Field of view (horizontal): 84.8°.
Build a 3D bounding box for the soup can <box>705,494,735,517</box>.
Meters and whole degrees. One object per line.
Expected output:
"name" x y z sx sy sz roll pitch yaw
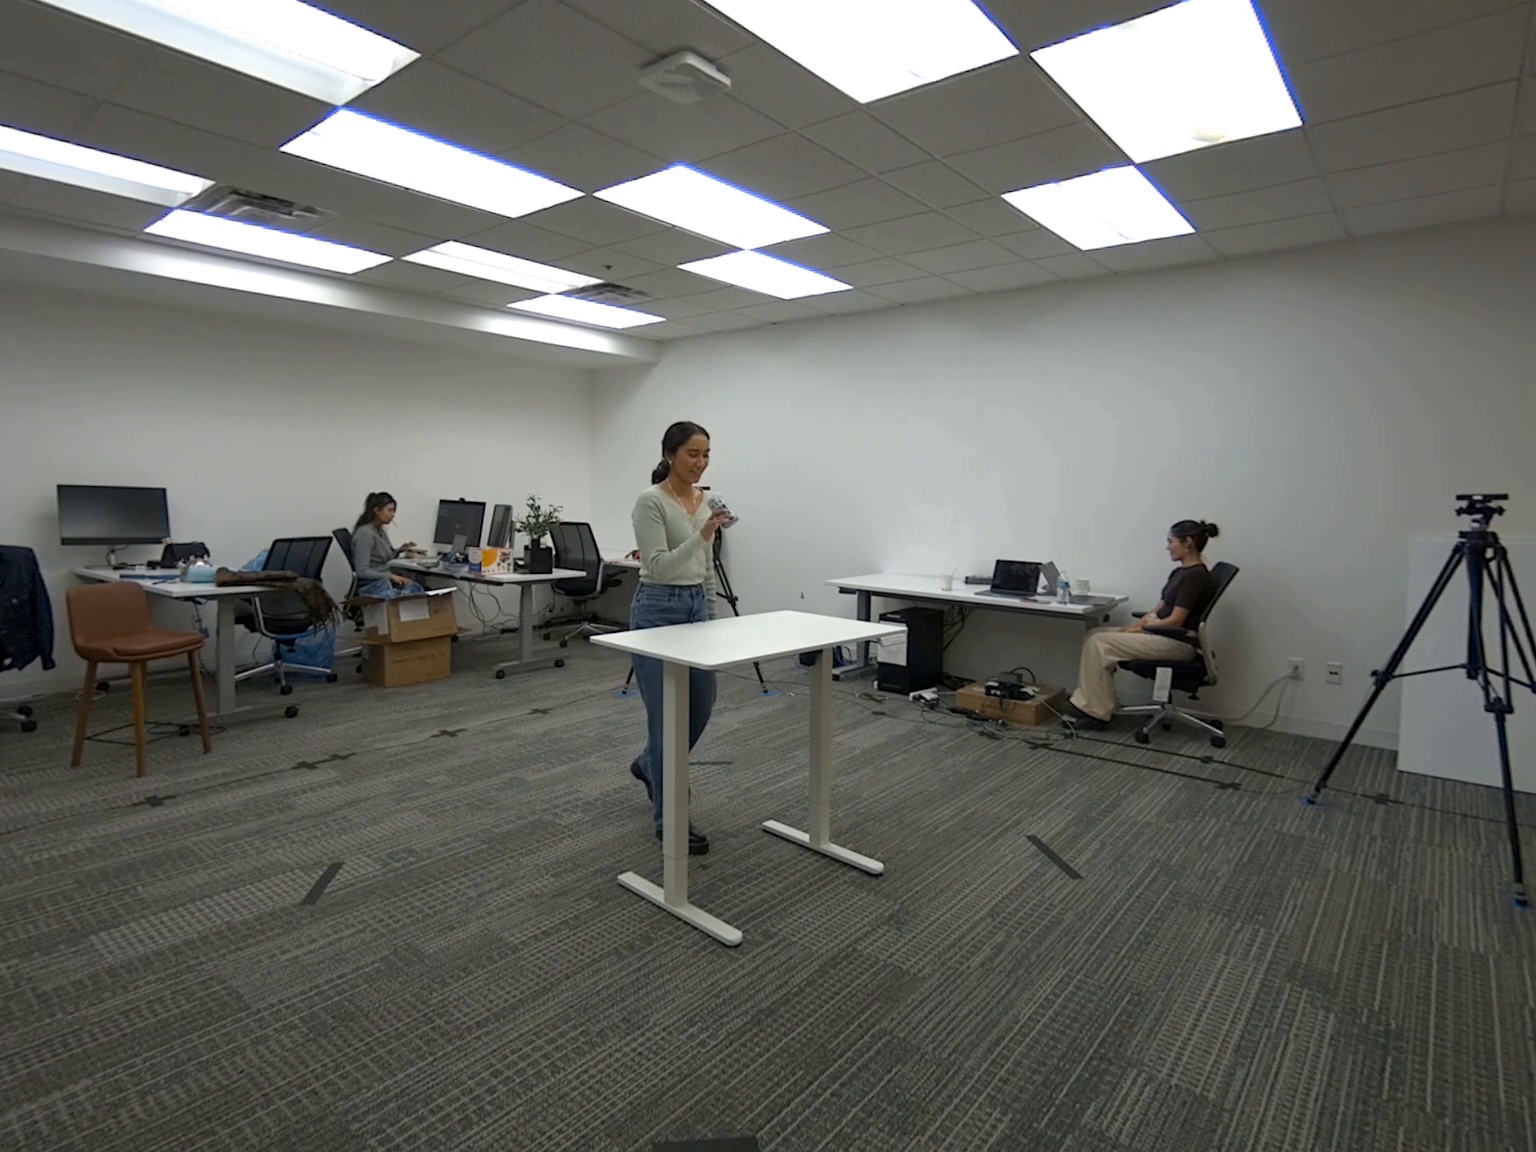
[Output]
"soup can" -0.195 -0.247 3.072 0.067 0.121 0.067 -8 5 -1
